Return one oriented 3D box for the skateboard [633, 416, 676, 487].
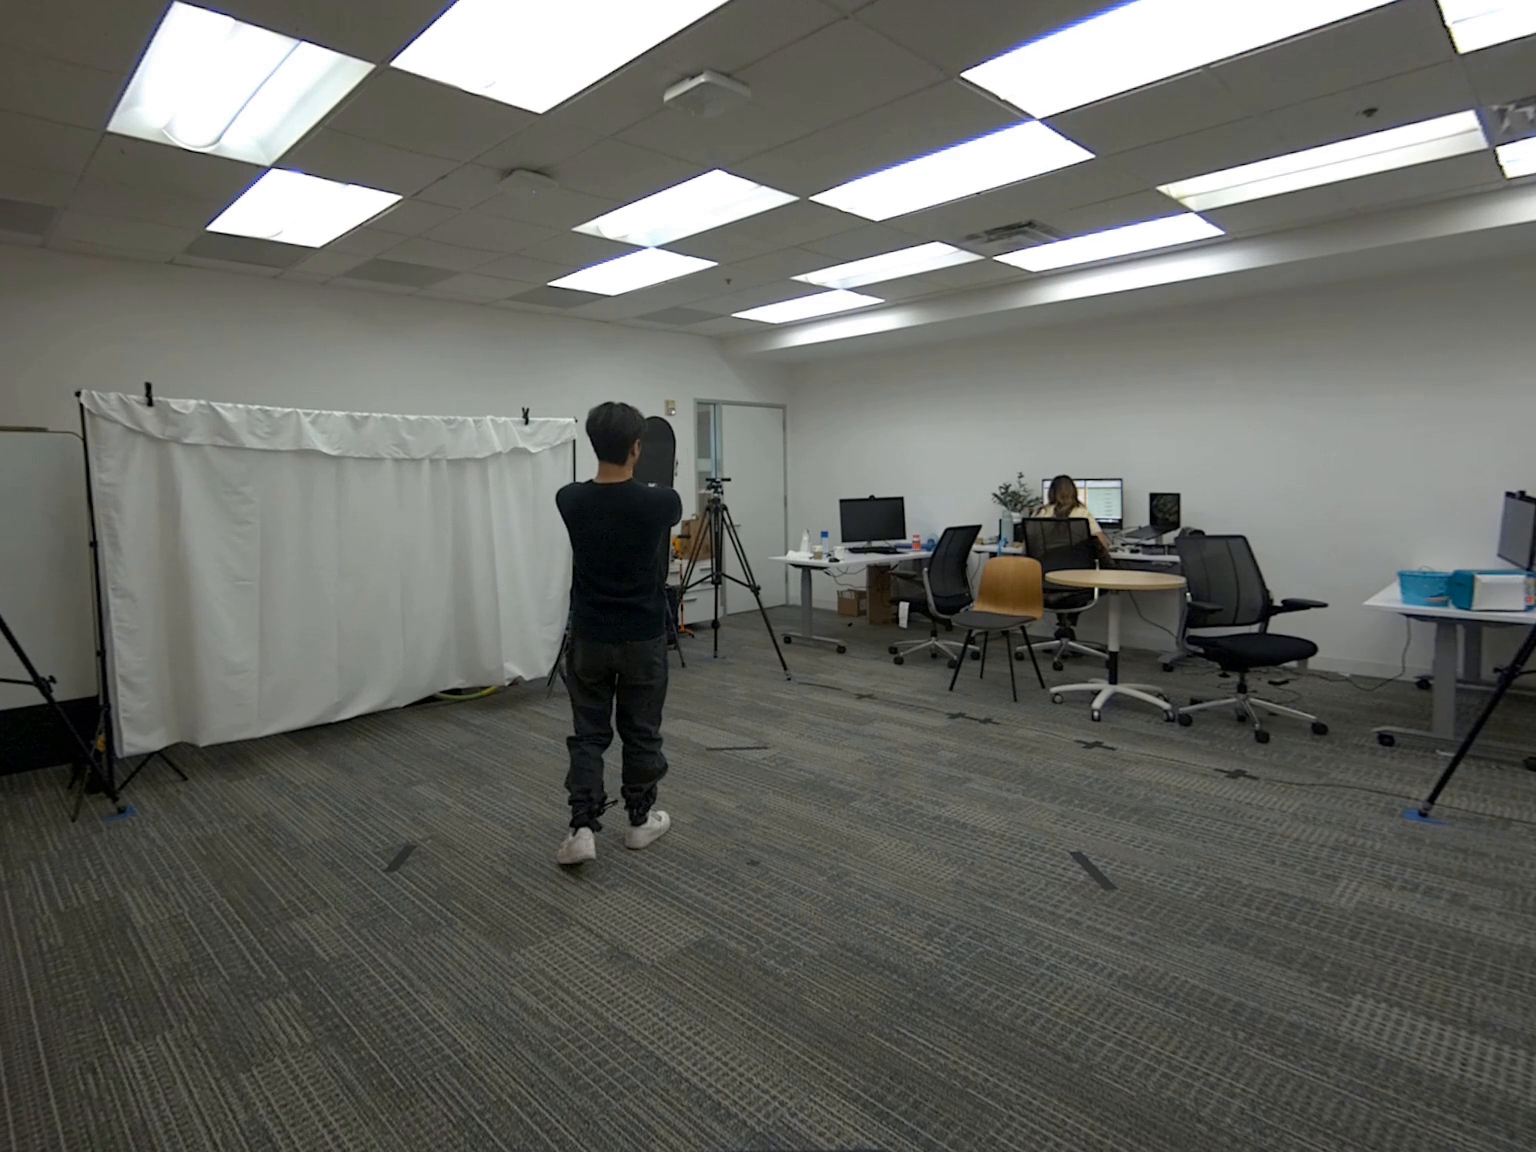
[{"bbox_3d":[-0.511,-0.303,3.770,0.195,0.788,0.109,1,-4,7],"label":"skateboard"}]
